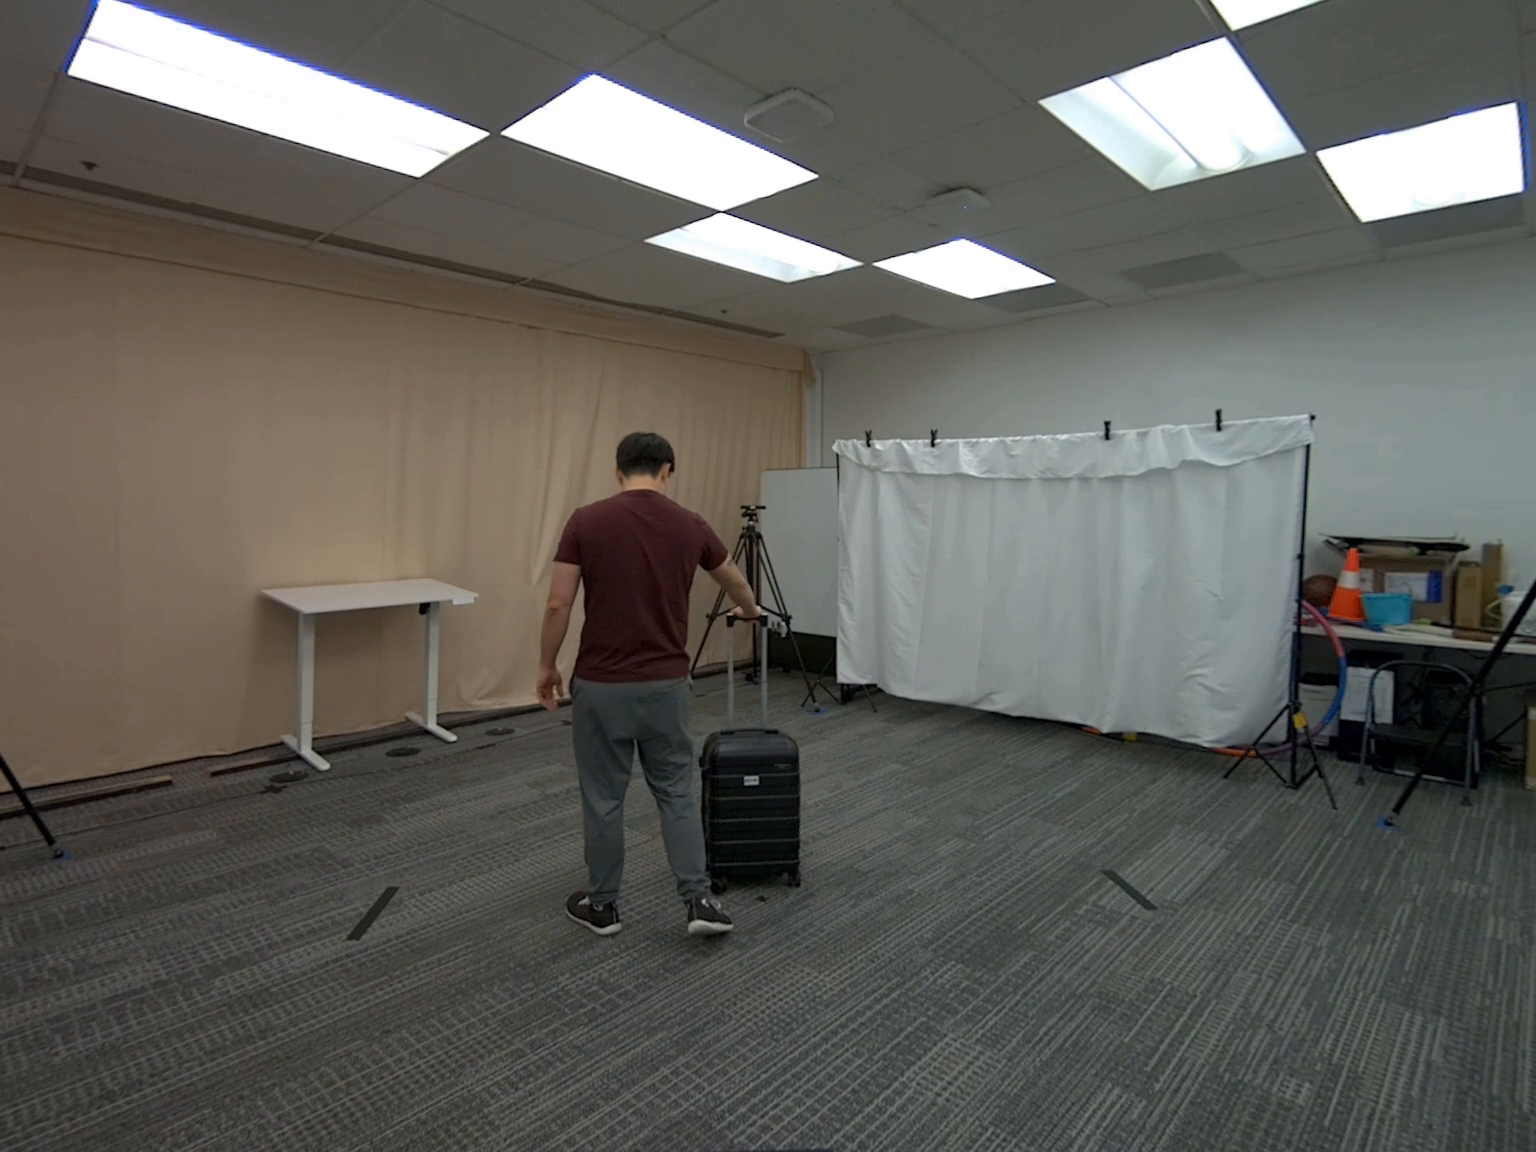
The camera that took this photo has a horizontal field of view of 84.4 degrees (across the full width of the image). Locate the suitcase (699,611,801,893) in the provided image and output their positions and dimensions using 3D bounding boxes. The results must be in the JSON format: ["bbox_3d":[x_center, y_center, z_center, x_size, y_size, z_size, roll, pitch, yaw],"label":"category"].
[{"bbox_3d":[-0.057,0.654,3.129,0.382,0.975,0.259,0,5,-6],"label":"suitcase"}]
